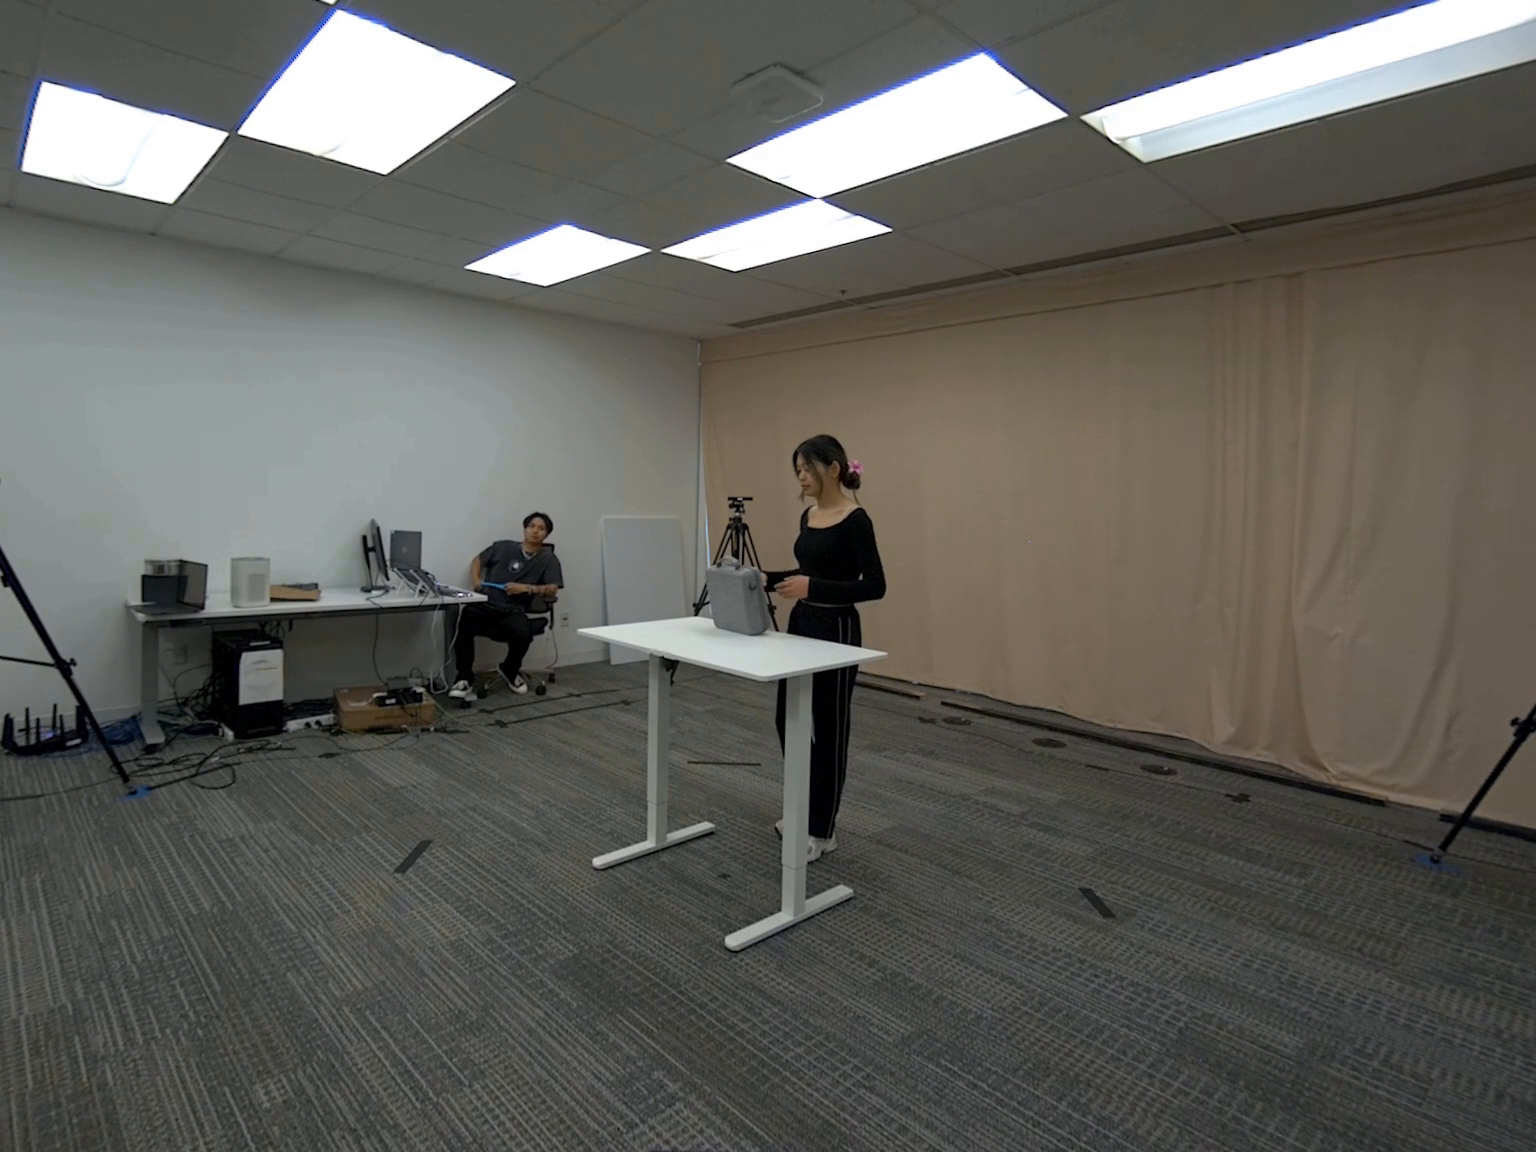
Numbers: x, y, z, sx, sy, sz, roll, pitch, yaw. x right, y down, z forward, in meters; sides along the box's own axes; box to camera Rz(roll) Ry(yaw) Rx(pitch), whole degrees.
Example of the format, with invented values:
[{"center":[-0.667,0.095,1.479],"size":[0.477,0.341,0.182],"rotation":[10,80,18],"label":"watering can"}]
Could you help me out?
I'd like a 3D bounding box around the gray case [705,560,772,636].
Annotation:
[{"center":[-0.121,0.083,3.209],"size":[0.103,0.258,0.263],"rotation":[-17,14,-33],"label":"gray case"}]
